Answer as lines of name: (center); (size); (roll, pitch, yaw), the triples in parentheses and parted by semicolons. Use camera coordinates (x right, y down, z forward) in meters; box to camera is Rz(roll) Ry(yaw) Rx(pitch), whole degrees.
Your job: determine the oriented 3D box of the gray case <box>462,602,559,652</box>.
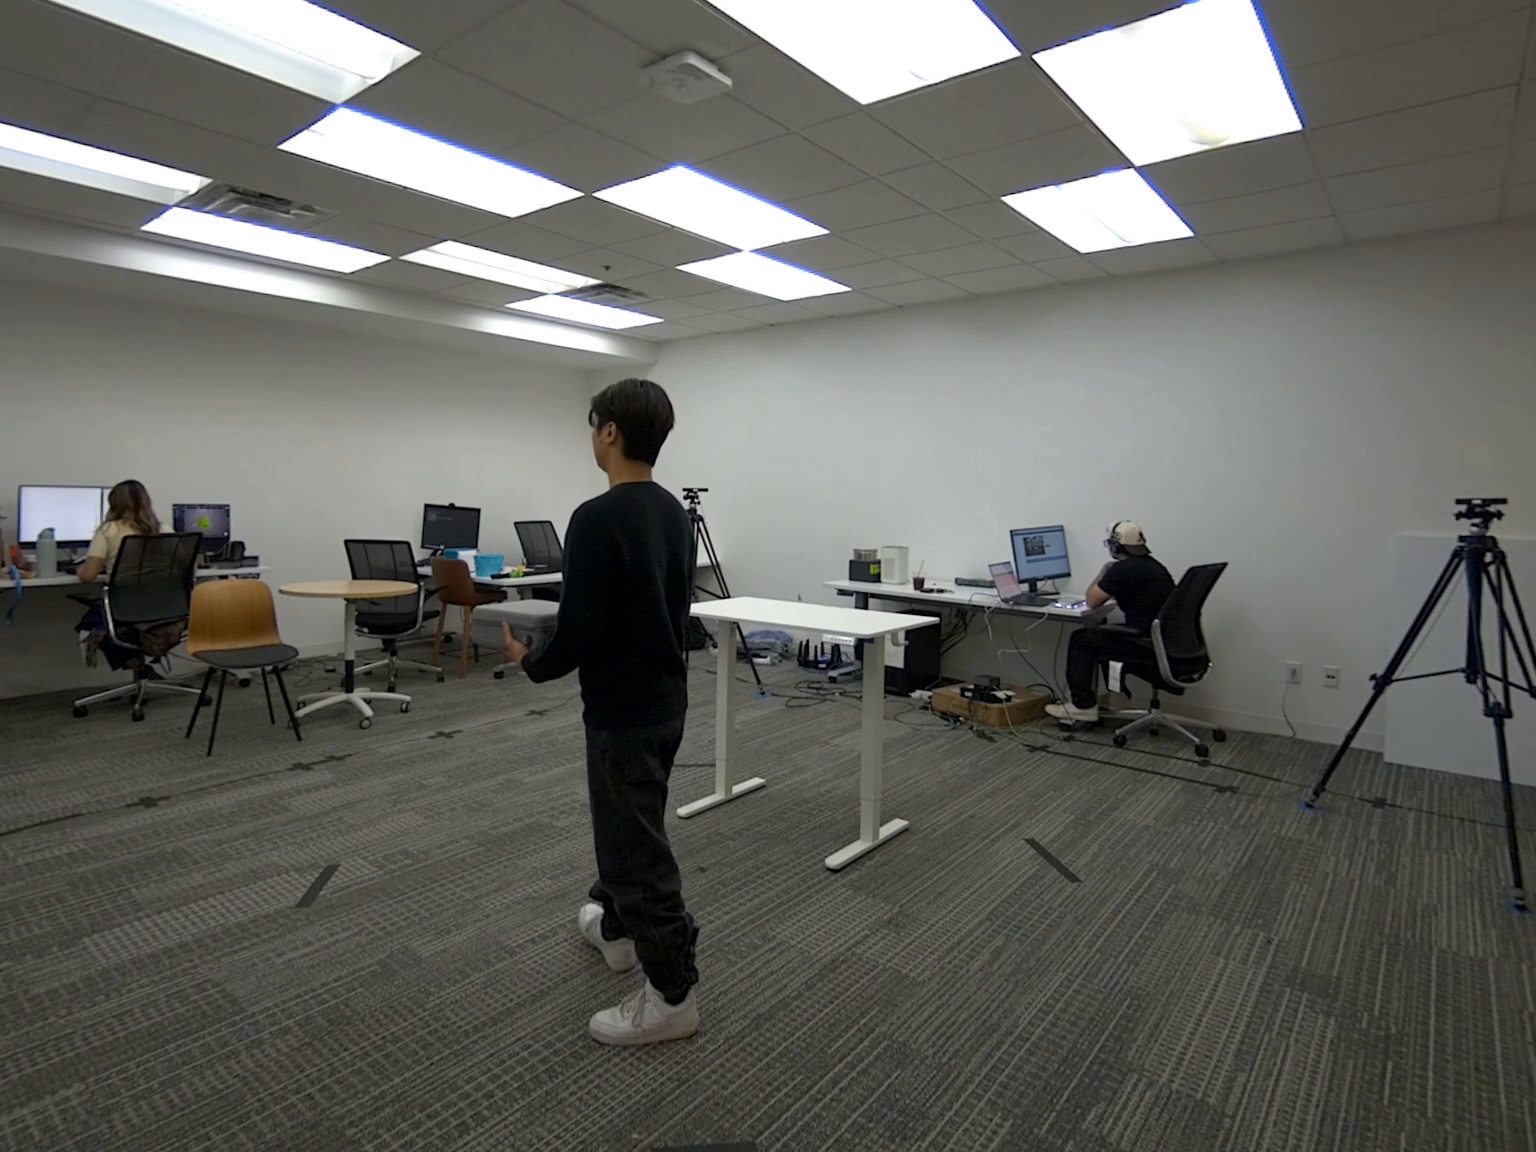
gray case: (-0.648, 0.134, 2.313); (0.265, 0.104, 0.253); (2, 0, 33)
